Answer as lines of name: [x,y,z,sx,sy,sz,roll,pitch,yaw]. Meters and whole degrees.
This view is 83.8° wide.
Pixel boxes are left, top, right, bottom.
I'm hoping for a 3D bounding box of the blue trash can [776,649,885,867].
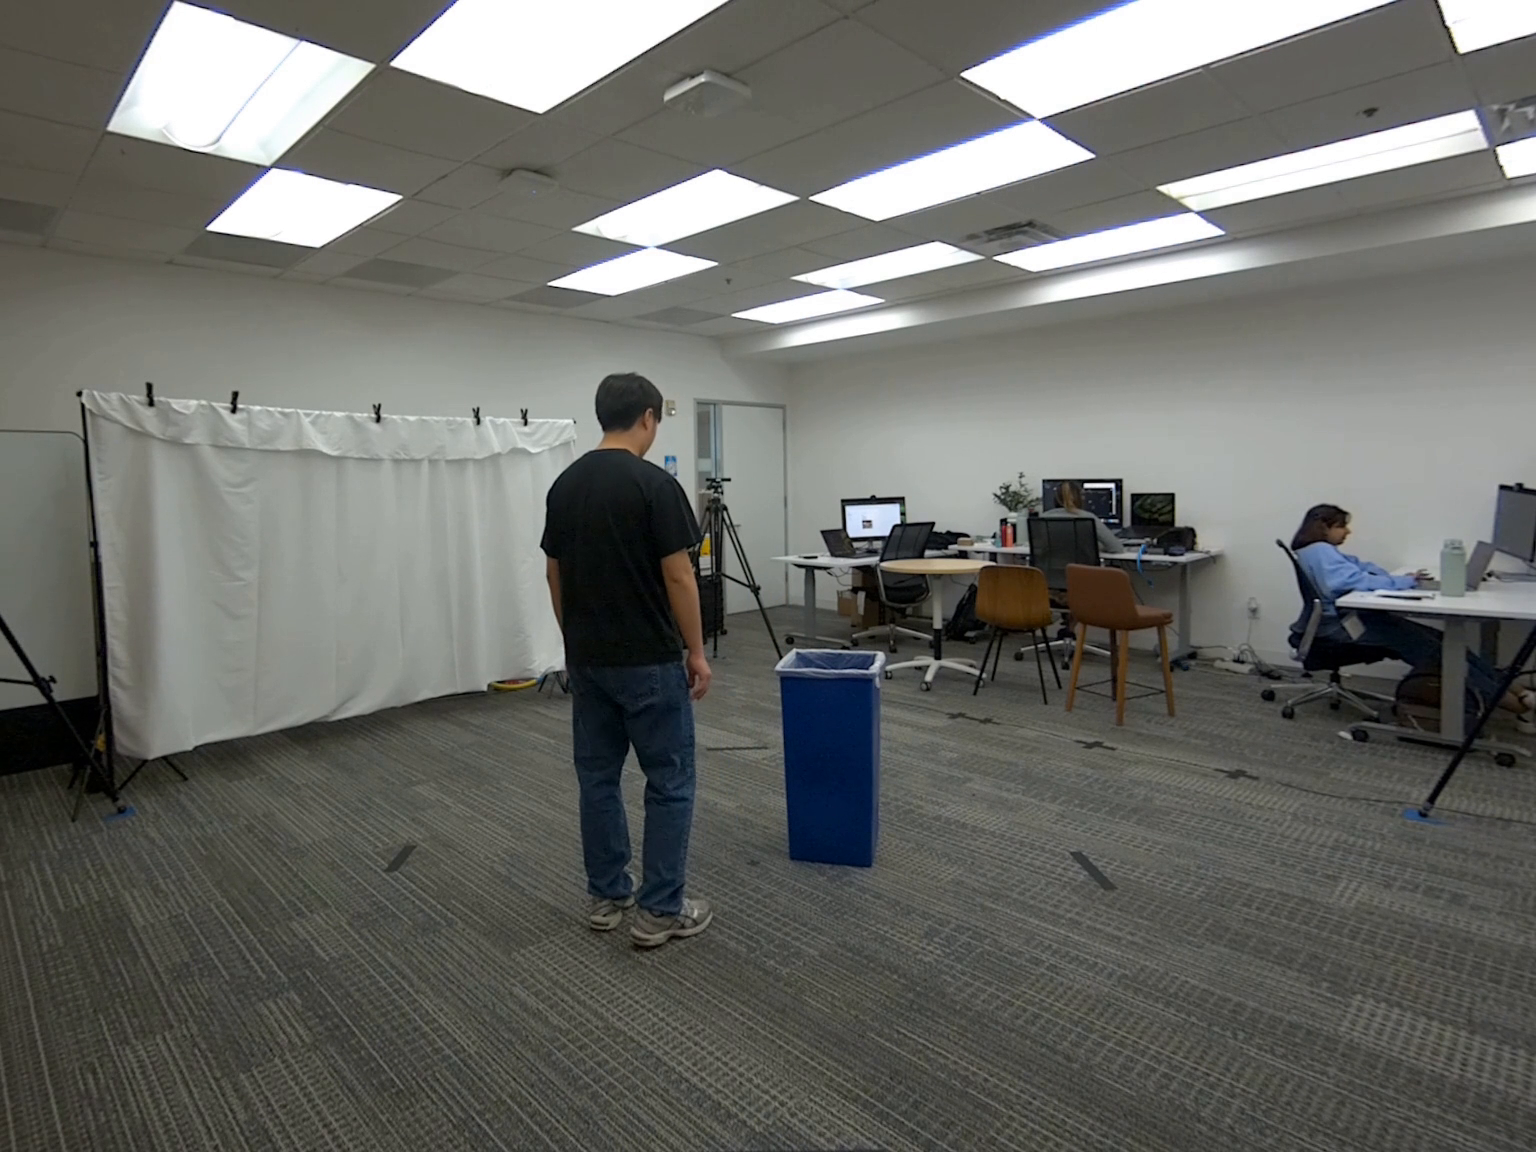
blue trash can: [0.255,0.665,3.211,0.379,0.711,0.374,-2,4,14]
